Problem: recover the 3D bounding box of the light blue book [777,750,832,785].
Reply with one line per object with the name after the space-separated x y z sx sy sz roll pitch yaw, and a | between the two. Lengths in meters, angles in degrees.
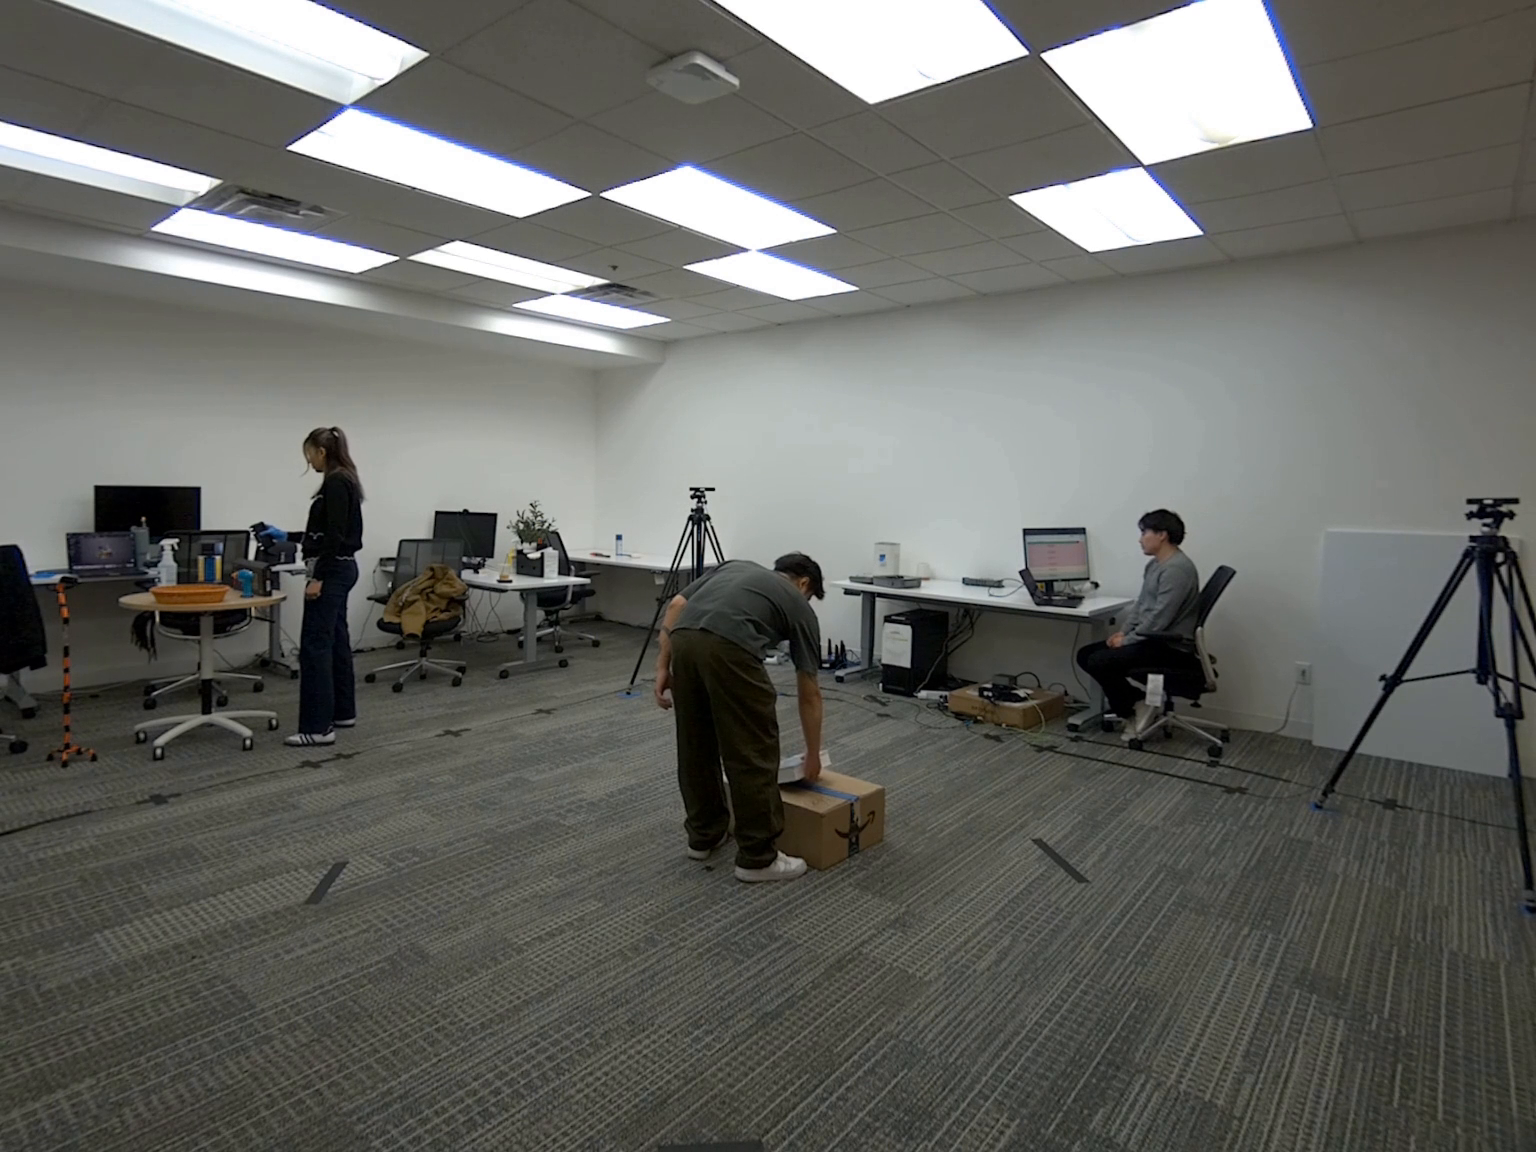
0.099 0.773 3.452 0.195 0.059 0.254 -18 -7 38 | light blue book
